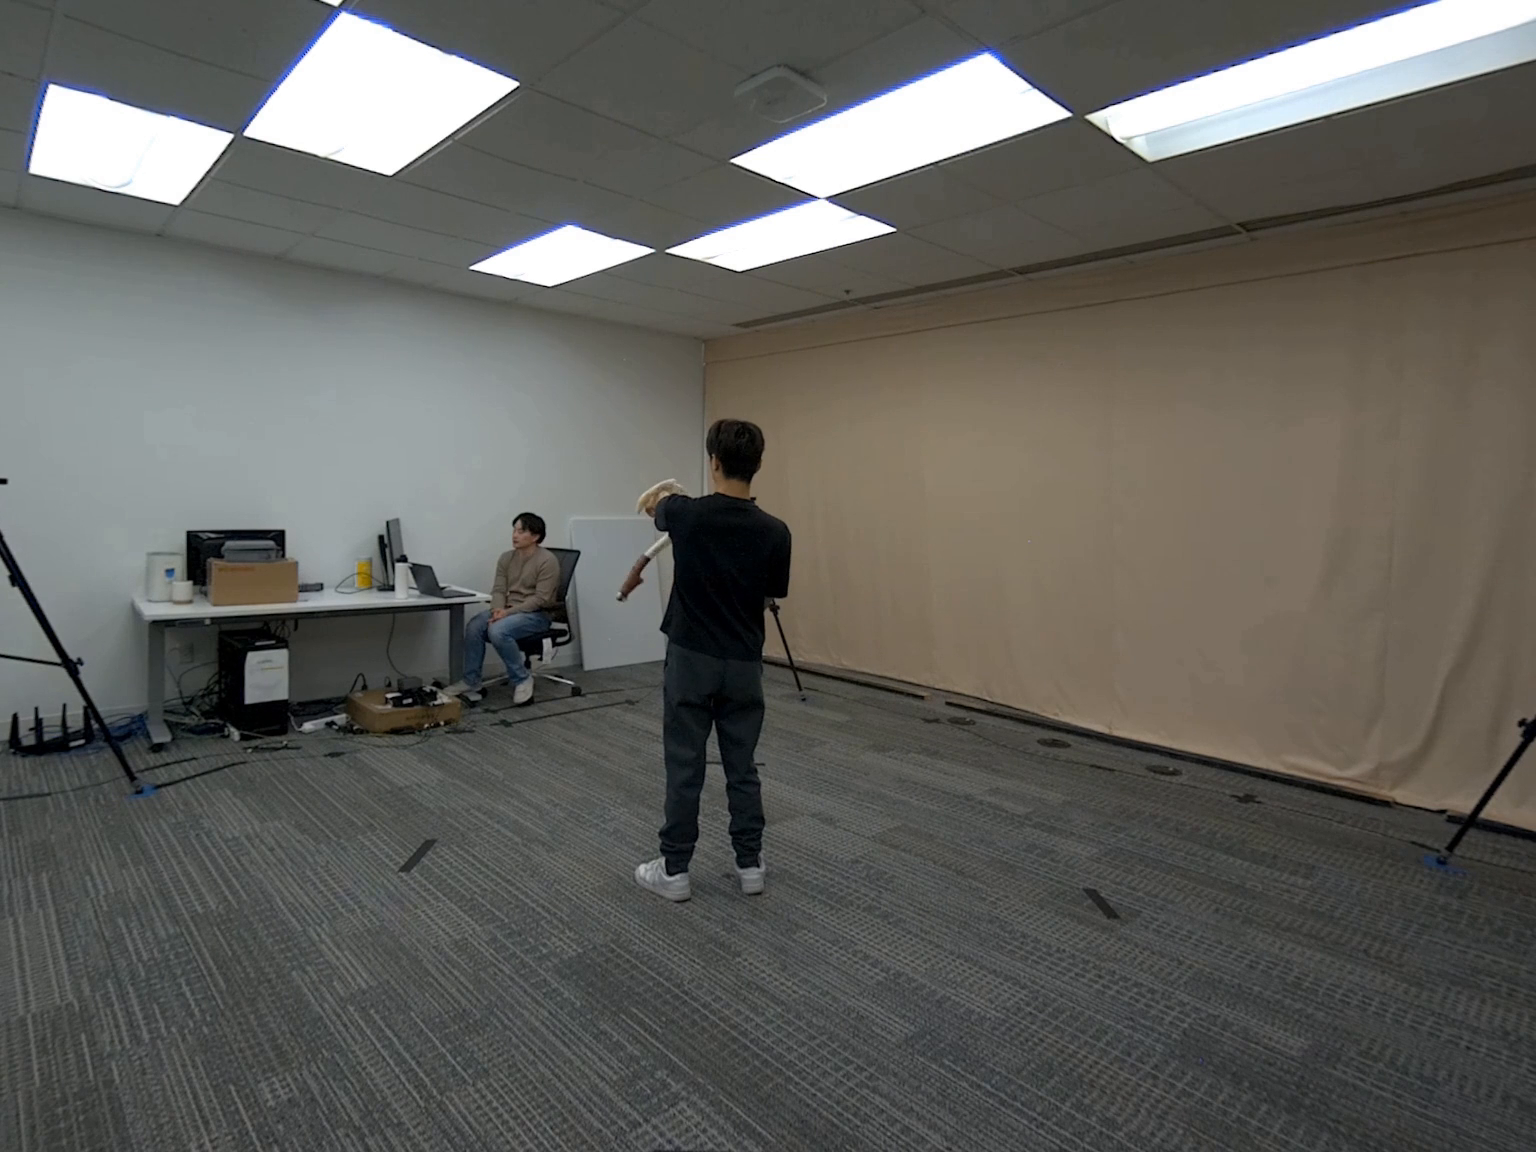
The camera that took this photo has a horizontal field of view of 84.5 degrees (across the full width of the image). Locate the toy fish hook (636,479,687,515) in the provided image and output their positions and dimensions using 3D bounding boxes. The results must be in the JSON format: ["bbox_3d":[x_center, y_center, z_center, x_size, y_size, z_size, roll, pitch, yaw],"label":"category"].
[{"bbox_3d":[-0.471,-0.142,3.242,0.220,0.508,0.049,36,-13,-19],"label":"toy fish hook"}]
